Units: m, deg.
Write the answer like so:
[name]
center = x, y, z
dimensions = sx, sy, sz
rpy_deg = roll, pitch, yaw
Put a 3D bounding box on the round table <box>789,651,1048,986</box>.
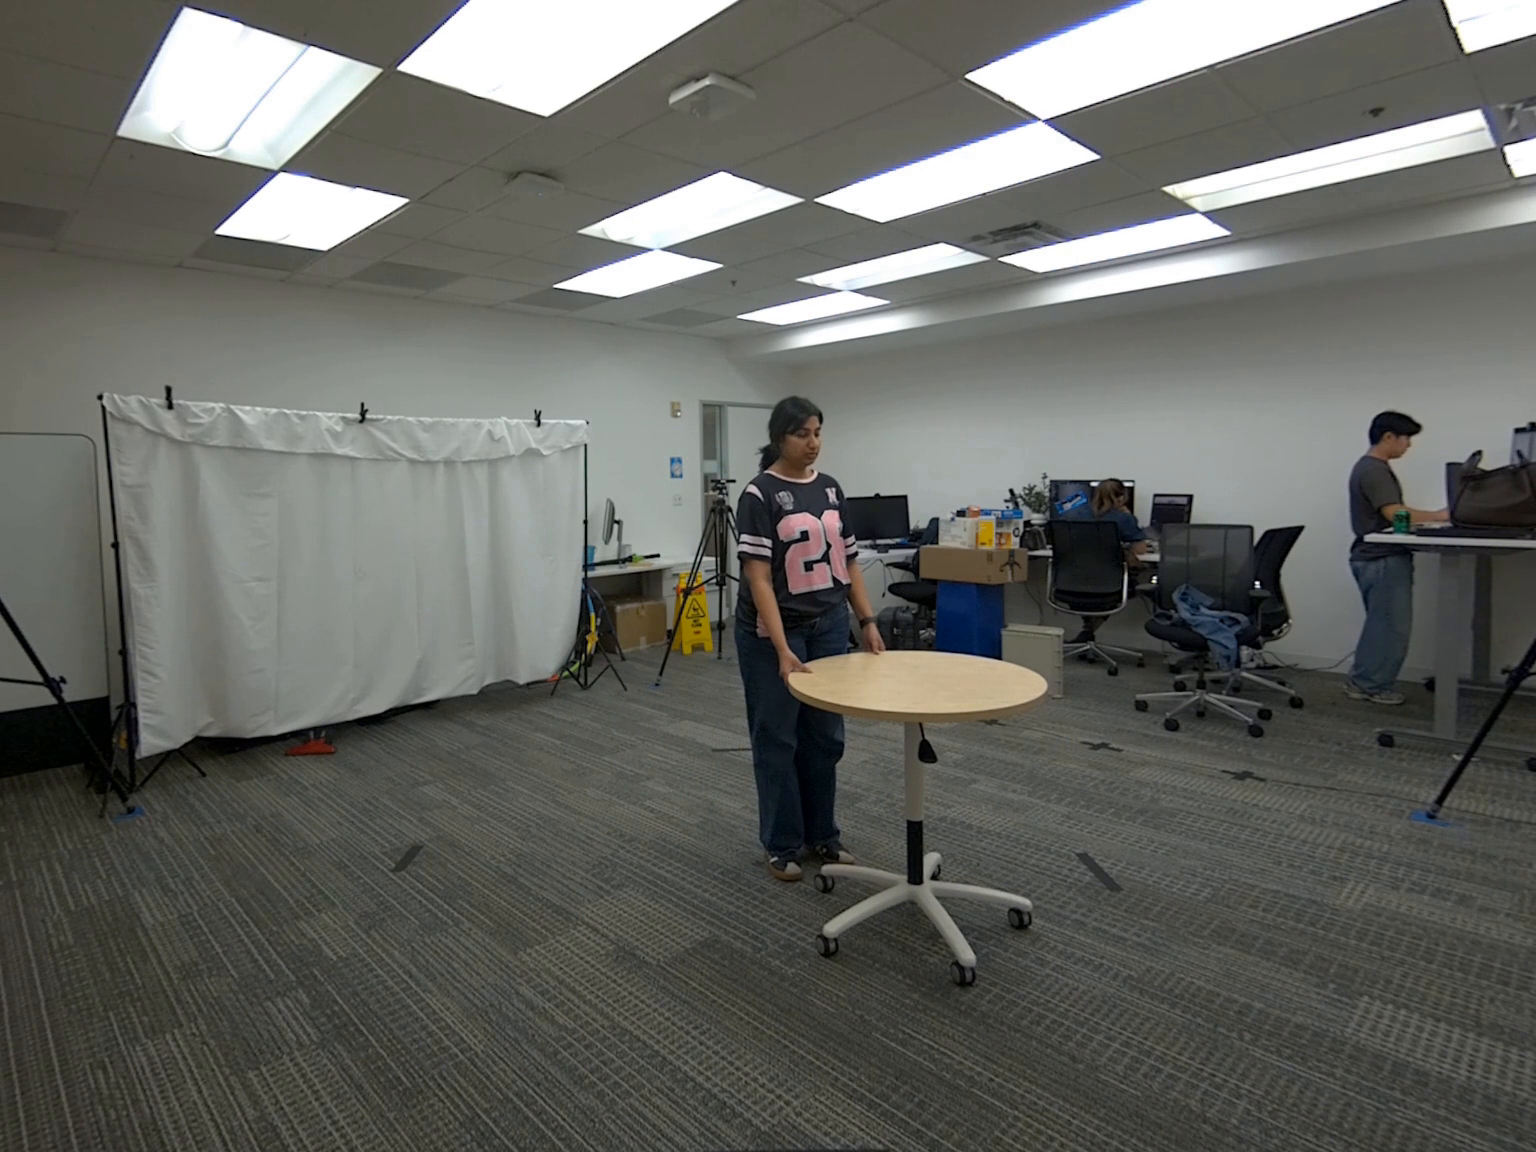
[round table]
center = 0.448, 0.695, 2.648
dimensions = 0.784, 0.783, 0.790
rpy_deg = -1, 6, -2
